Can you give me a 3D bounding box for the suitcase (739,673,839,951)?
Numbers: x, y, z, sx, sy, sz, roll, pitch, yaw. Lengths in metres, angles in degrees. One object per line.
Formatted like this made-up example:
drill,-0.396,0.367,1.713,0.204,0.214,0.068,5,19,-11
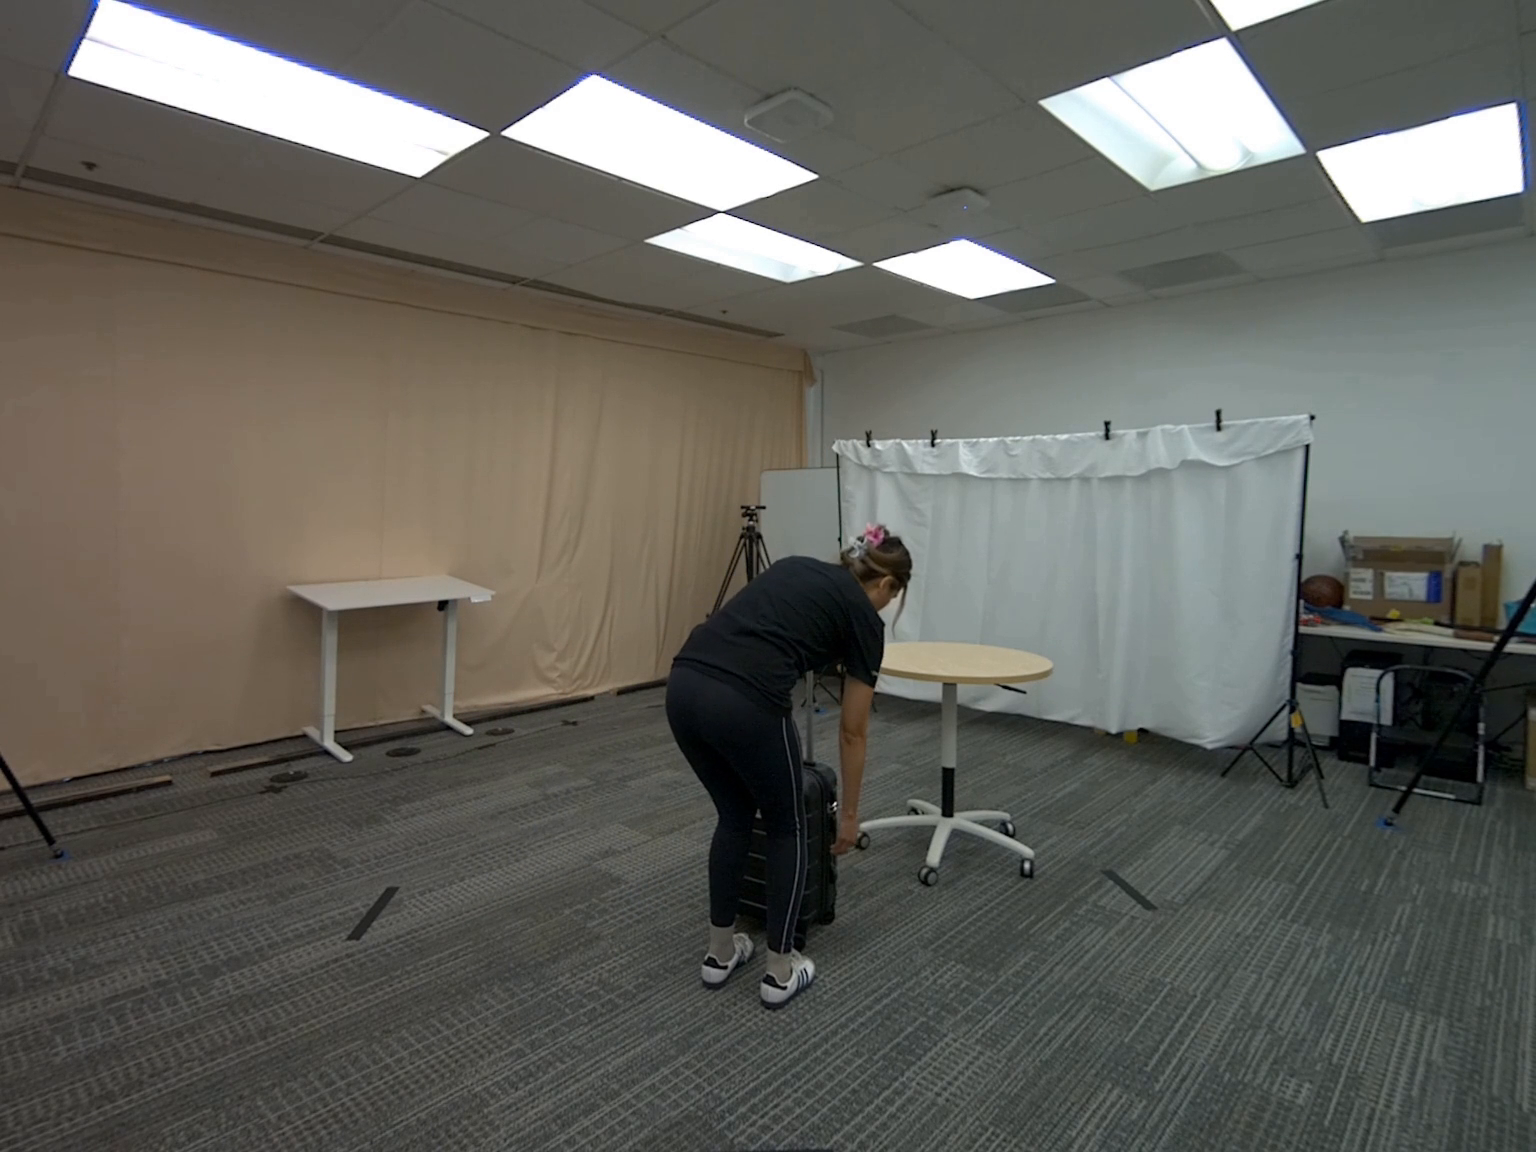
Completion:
suitcase,0.042,0.682,2.786,0.396,0.976,0.250,3,5,32
